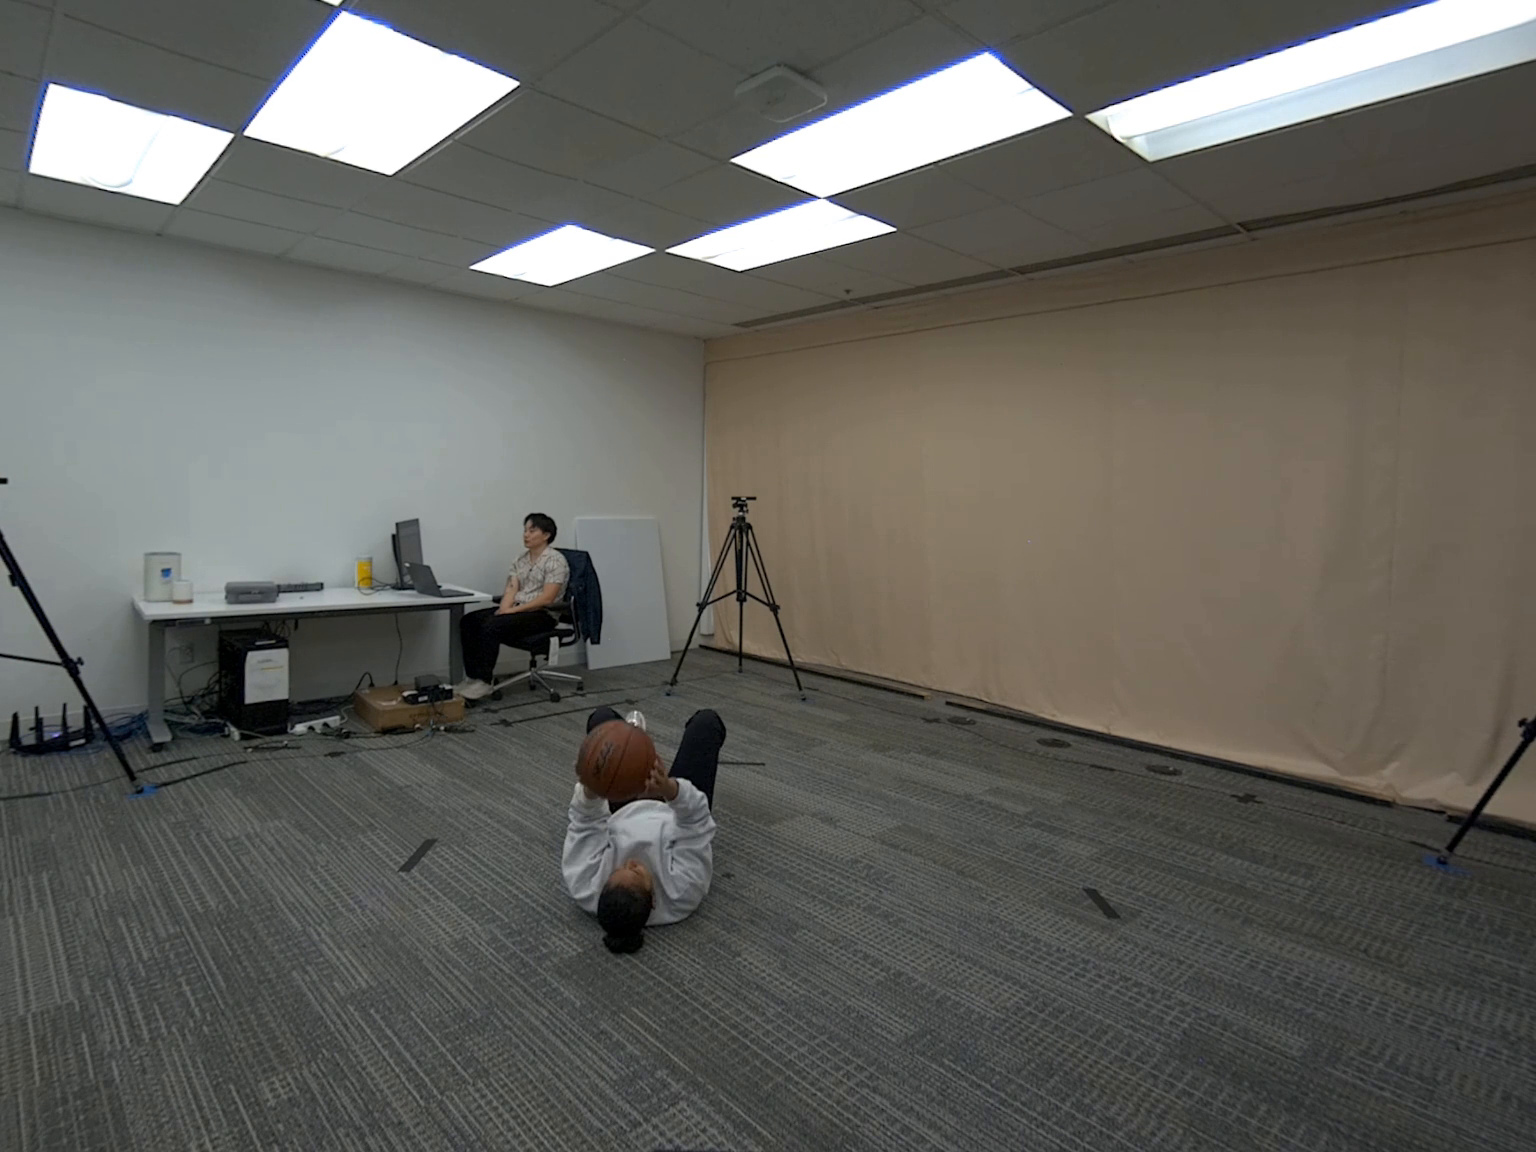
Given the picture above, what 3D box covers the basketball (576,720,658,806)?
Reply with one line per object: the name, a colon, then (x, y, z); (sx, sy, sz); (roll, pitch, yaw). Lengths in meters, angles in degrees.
basketball: (-0.462, 0.581, 2.591); (0.236, 0.235, 0.237); (1, 4, -1)
